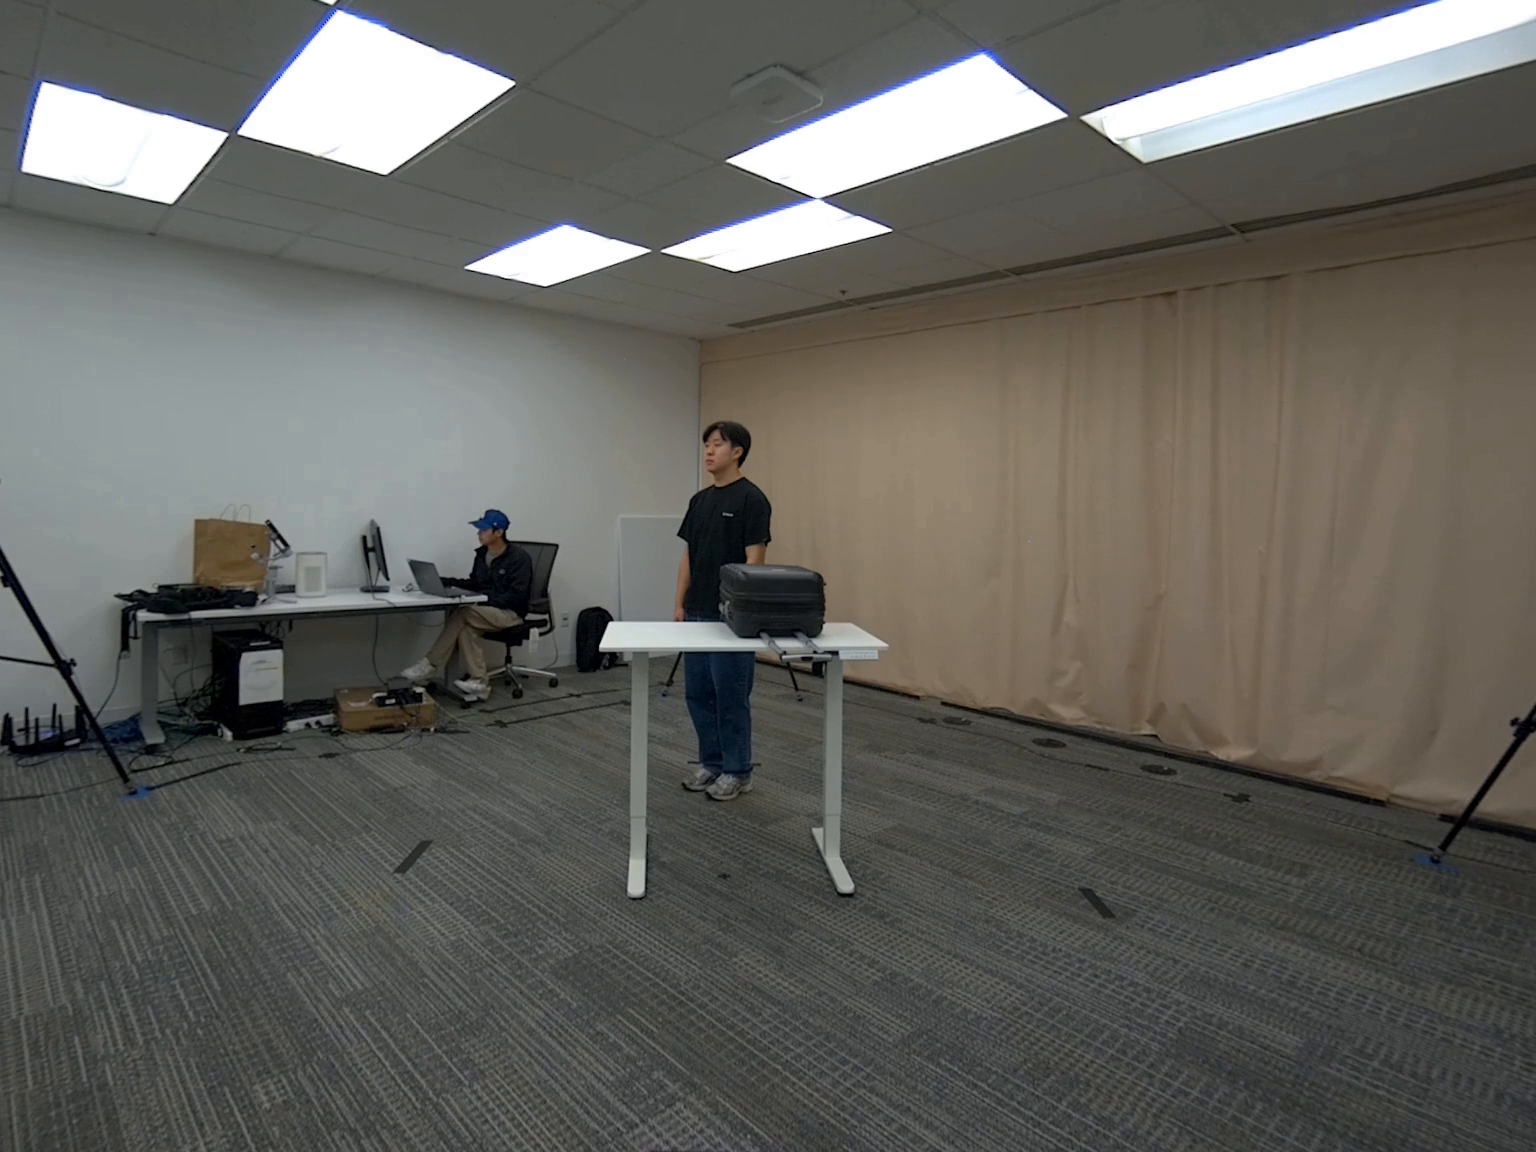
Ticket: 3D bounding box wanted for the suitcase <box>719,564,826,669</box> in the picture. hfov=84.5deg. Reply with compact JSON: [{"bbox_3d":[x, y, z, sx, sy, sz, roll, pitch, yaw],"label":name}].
[{"bbox_3d":[0.034,0.103,3.097,0.381,0.257,0.987,2,2,-10],"label":"suitcase"}]
